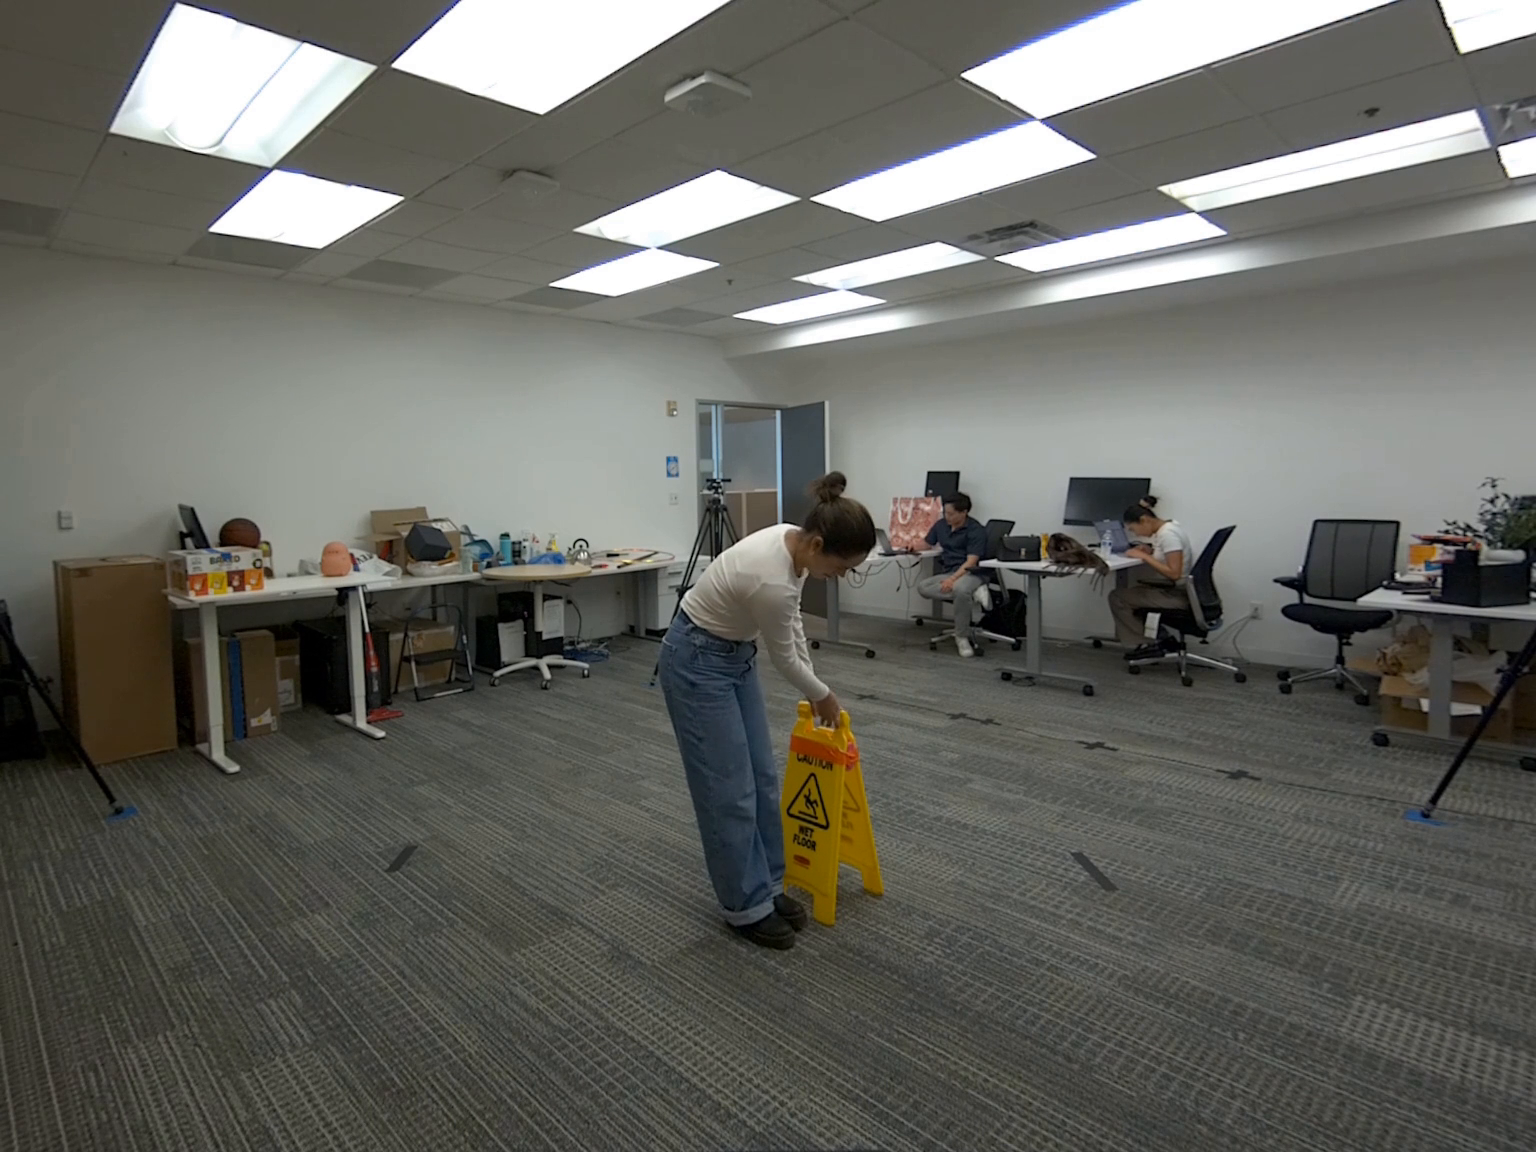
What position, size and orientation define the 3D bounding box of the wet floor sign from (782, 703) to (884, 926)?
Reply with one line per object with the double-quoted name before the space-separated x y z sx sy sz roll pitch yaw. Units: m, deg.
"wet floor sign" 0.186 0.747 2.833 0.291 0.644 0.282 2 6 43
